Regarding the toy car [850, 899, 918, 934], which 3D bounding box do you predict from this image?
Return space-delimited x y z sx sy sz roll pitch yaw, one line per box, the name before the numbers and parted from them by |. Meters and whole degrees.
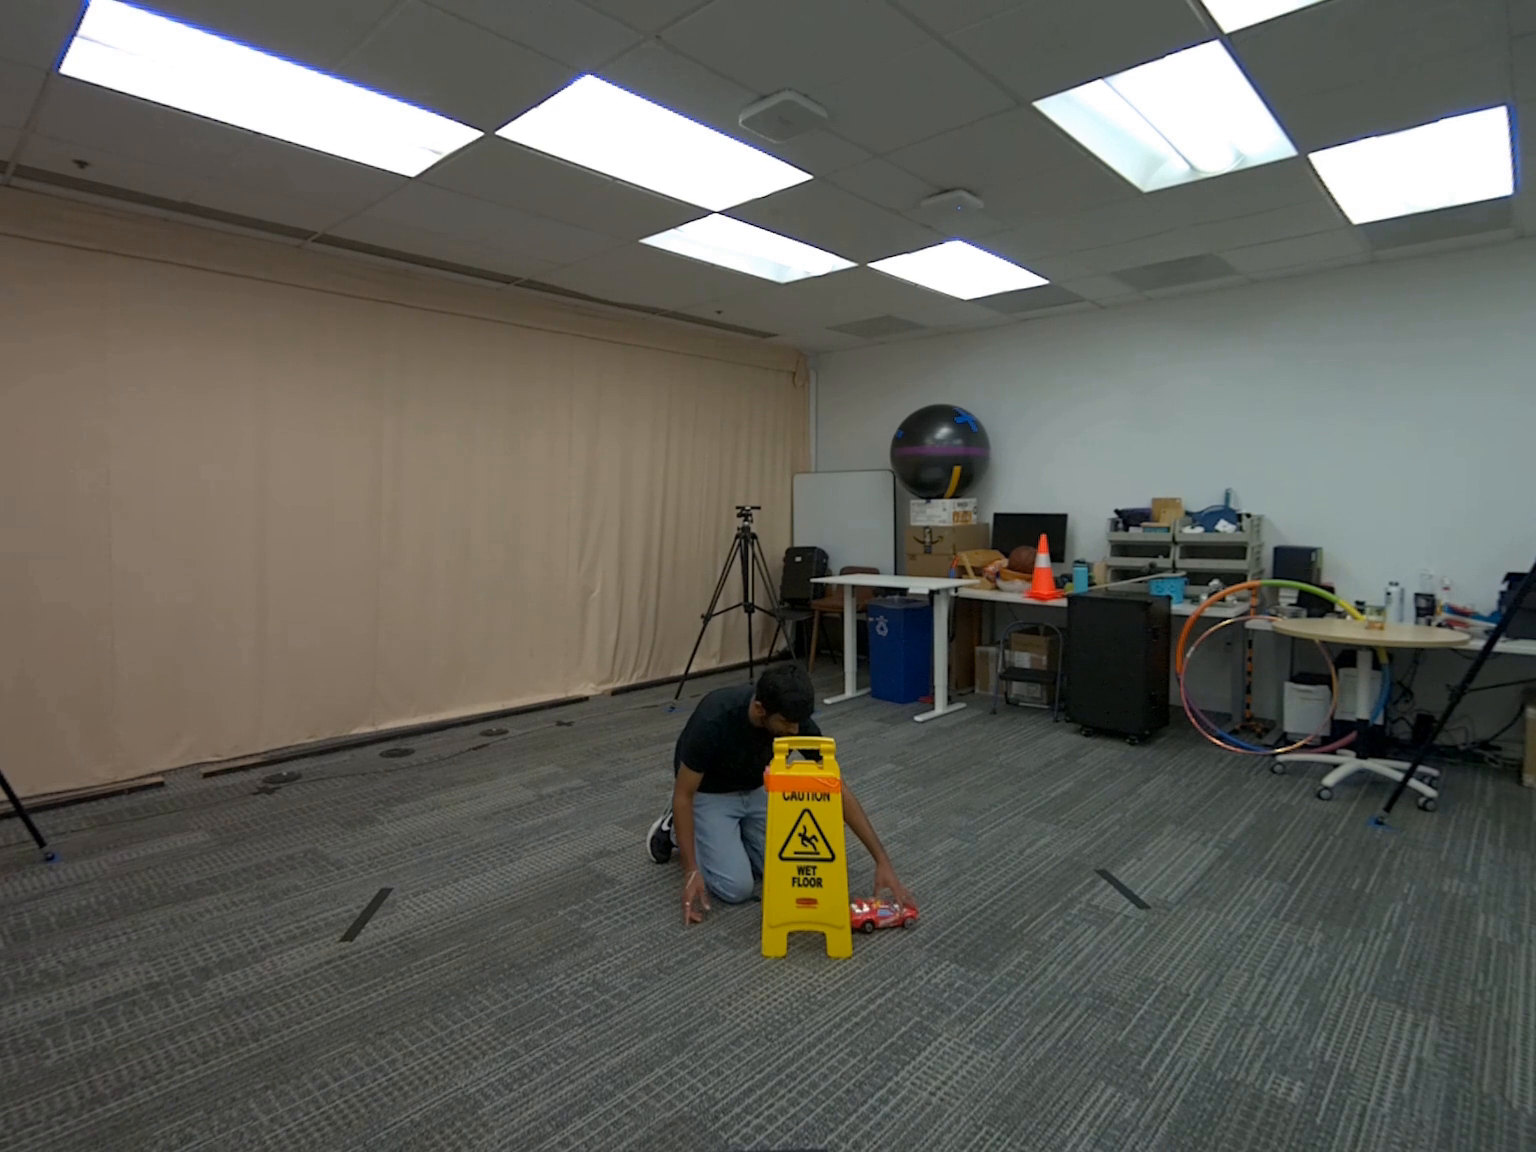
toy car | 0.358 1.131 2.791 0.251 0.083 0.132 11 1 -12
